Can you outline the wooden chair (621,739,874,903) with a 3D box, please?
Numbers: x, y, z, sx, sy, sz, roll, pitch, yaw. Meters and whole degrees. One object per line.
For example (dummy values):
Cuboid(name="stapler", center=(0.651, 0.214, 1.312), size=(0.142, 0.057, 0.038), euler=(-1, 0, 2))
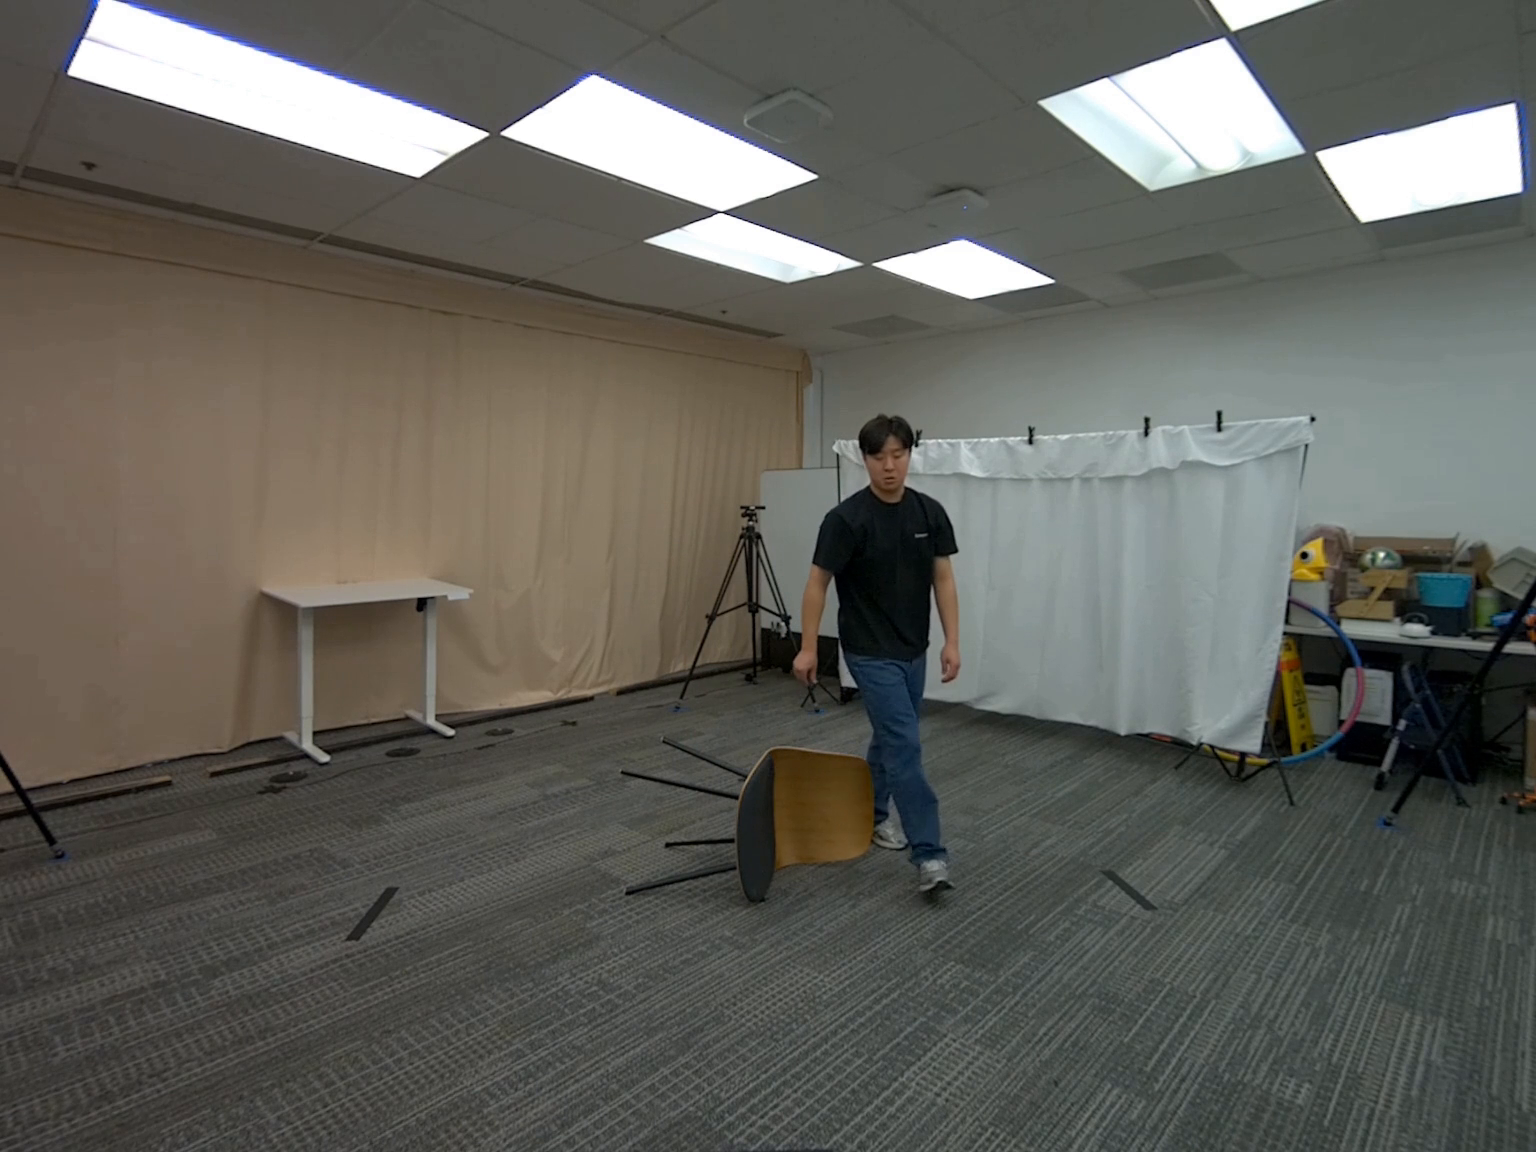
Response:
Cuboid(name="wooden chair", center=(-0.048, 0.900, 3.107), size=(0.889, 0.477, 0.517), euler=(1, 3, 11))
